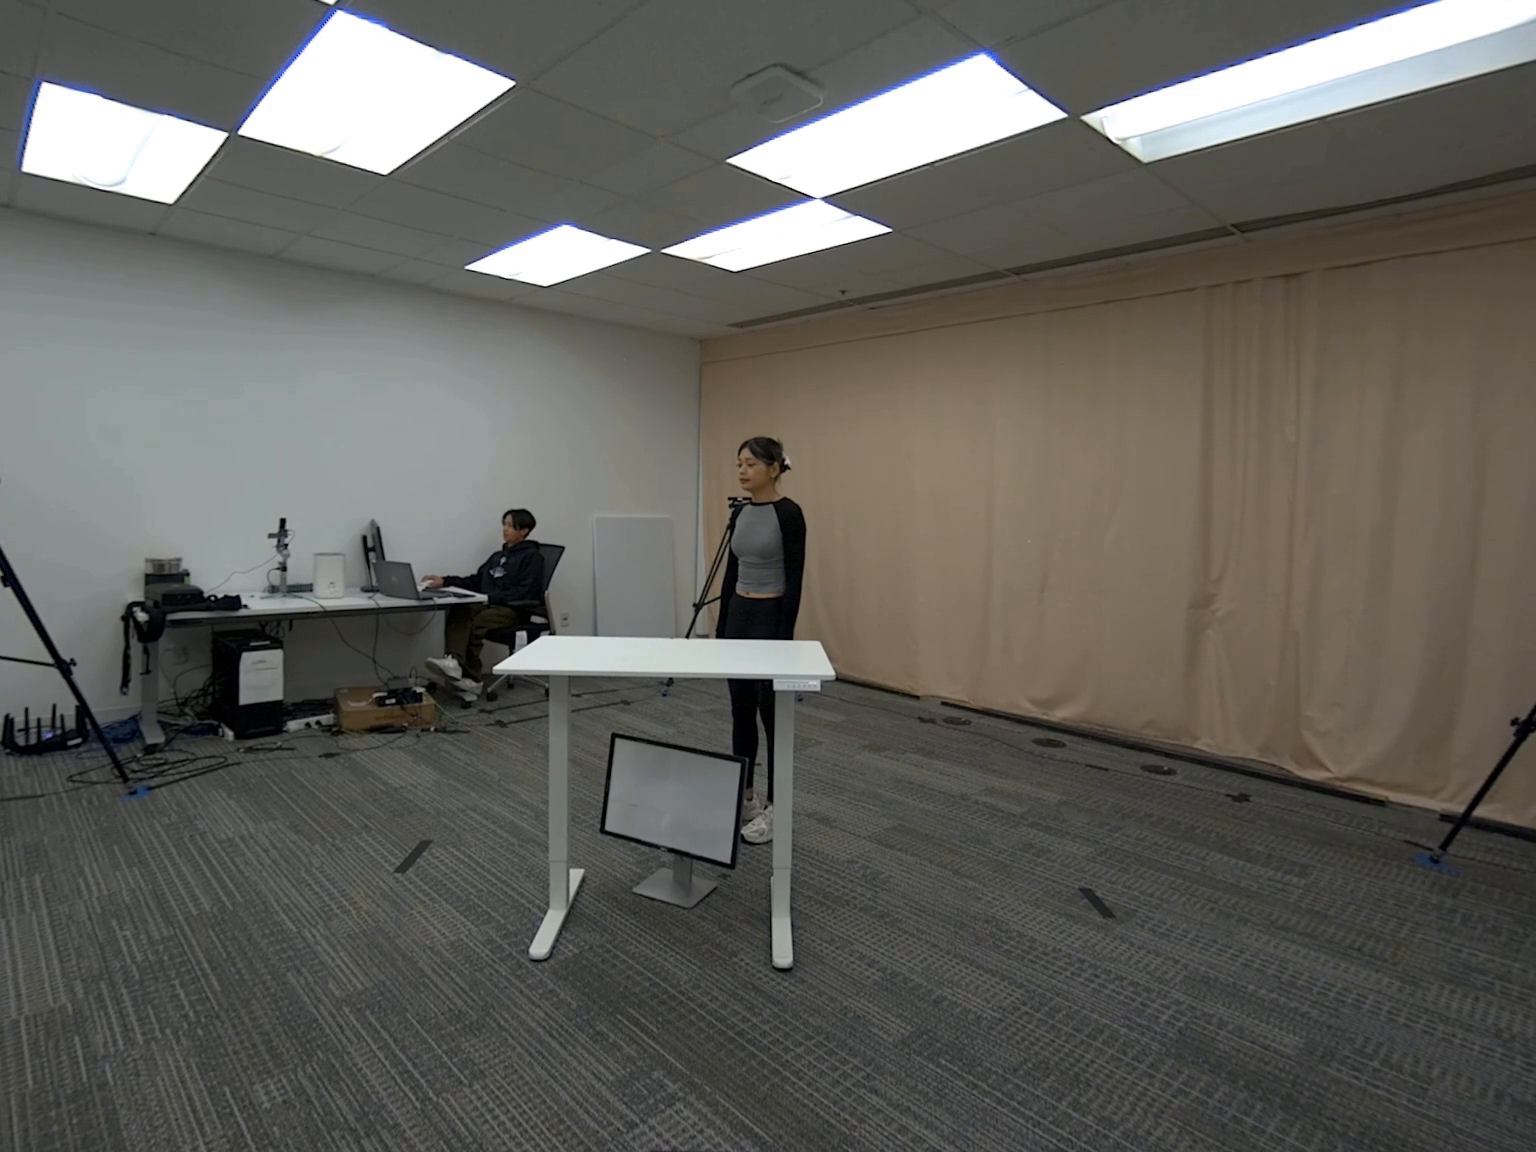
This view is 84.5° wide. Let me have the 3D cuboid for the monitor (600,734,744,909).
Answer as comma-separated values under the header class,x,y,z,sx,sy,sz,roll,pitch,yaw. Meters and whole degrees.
class,x,y,z,sx,sy,sz,roll,pitch,yaw
monitor,-0.329,0.858,2.970,0.550,0.520,0.184,4,6,27
